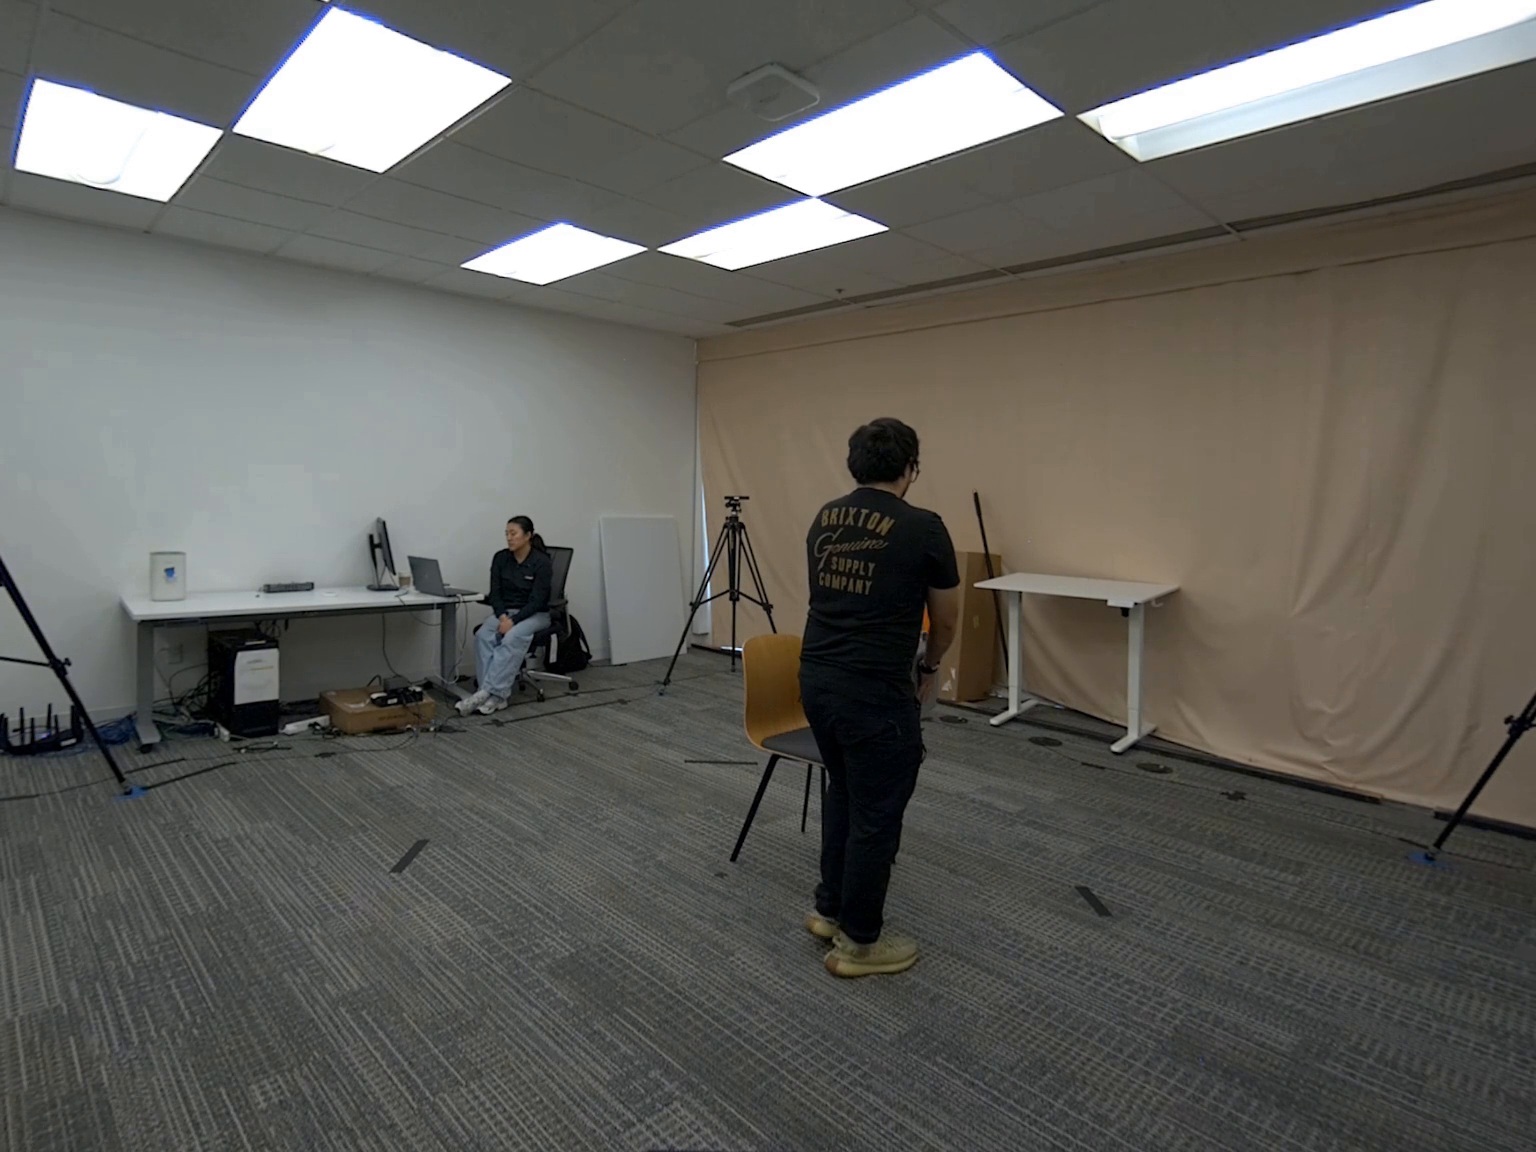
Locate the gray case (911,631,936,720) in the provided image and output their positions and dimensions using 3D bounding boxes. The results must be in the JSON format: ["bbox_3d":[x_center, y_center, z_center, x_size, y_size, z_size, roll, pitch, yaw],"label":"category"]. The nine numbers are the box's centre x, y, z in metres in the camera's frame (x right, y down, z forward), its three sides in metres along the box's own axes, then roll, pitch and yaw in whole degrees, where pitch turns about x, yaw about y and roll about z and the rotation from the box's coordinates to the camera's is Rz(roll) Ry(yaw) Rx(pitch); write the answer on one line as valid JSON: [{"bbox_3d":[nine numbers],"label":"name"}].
[{"bbox_3d":[0.484,0.347,2.802,0.107,0.258,0.253,10,13,29],"label":"gray case"}]
